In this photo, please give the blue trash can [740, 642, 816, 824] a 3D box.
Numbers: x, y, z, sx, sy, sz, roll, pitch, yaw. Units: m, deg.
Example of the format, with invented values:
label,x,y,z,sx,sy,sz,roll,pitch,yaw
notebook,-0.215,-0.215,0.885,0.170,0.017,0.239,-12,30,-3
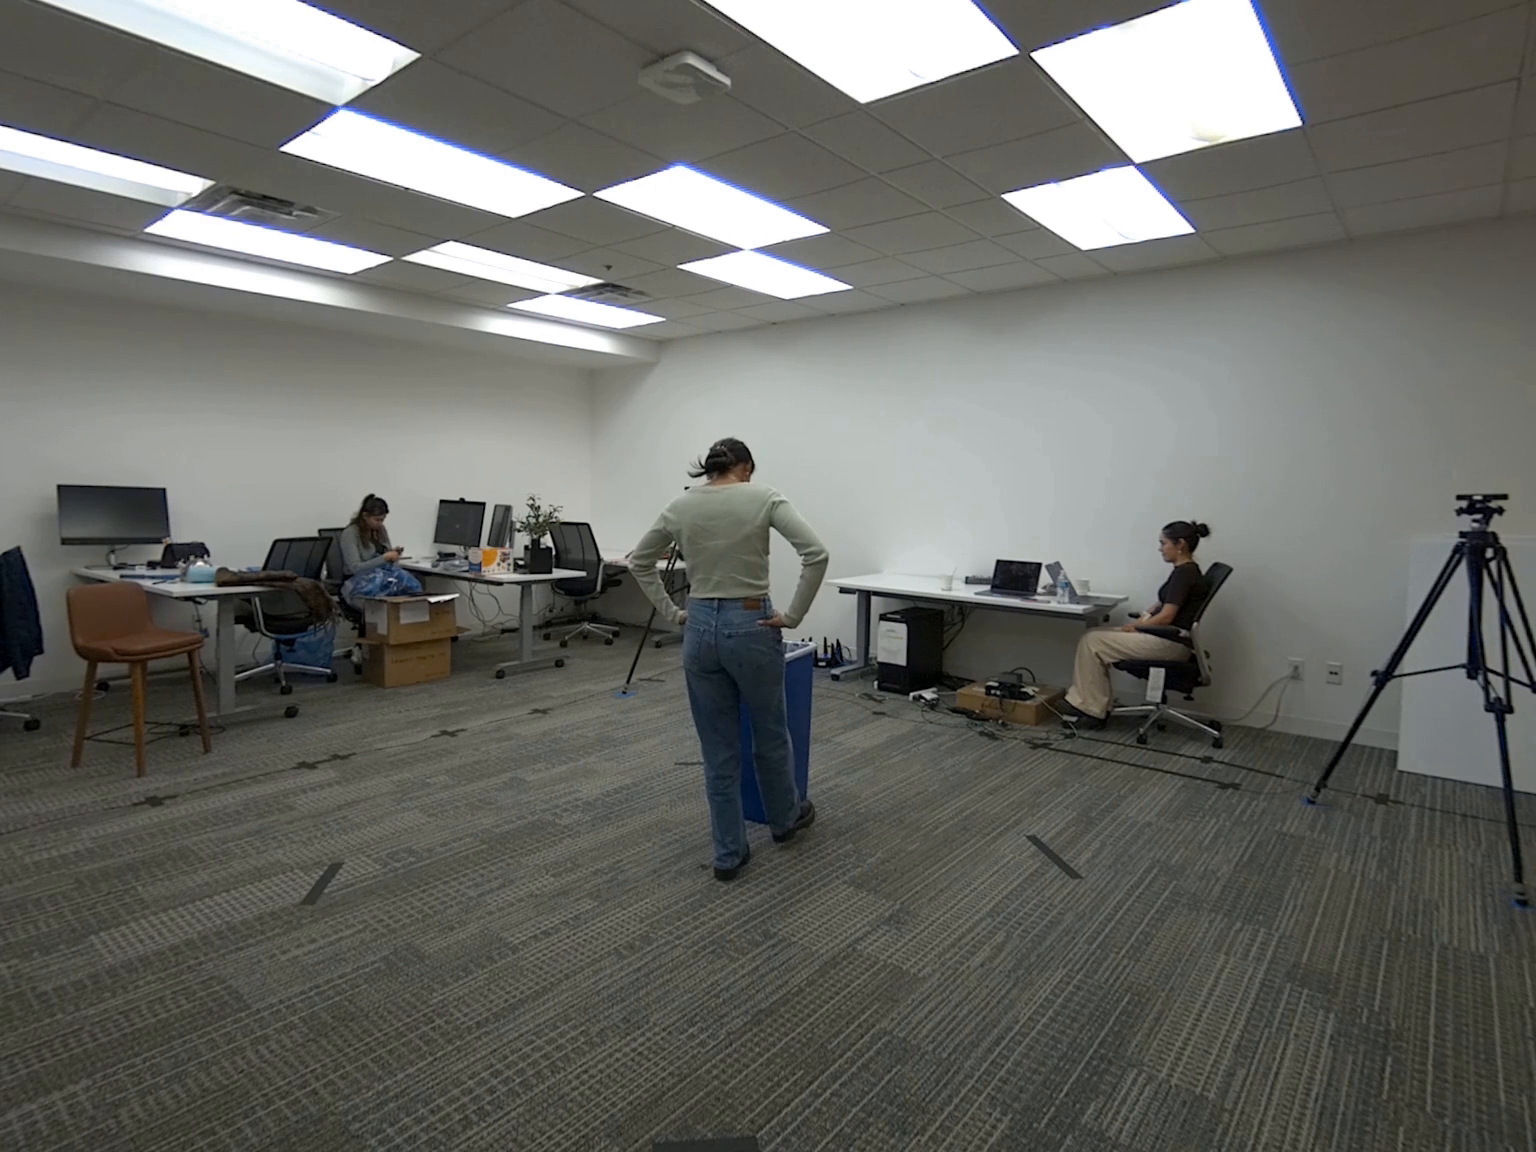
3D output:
label,x,y,z,sx,sy,sz,roll,pitch,yaw
blue trash can,-0.038,0.653,3.689,0.385,0.711,0.368,3,4,30
